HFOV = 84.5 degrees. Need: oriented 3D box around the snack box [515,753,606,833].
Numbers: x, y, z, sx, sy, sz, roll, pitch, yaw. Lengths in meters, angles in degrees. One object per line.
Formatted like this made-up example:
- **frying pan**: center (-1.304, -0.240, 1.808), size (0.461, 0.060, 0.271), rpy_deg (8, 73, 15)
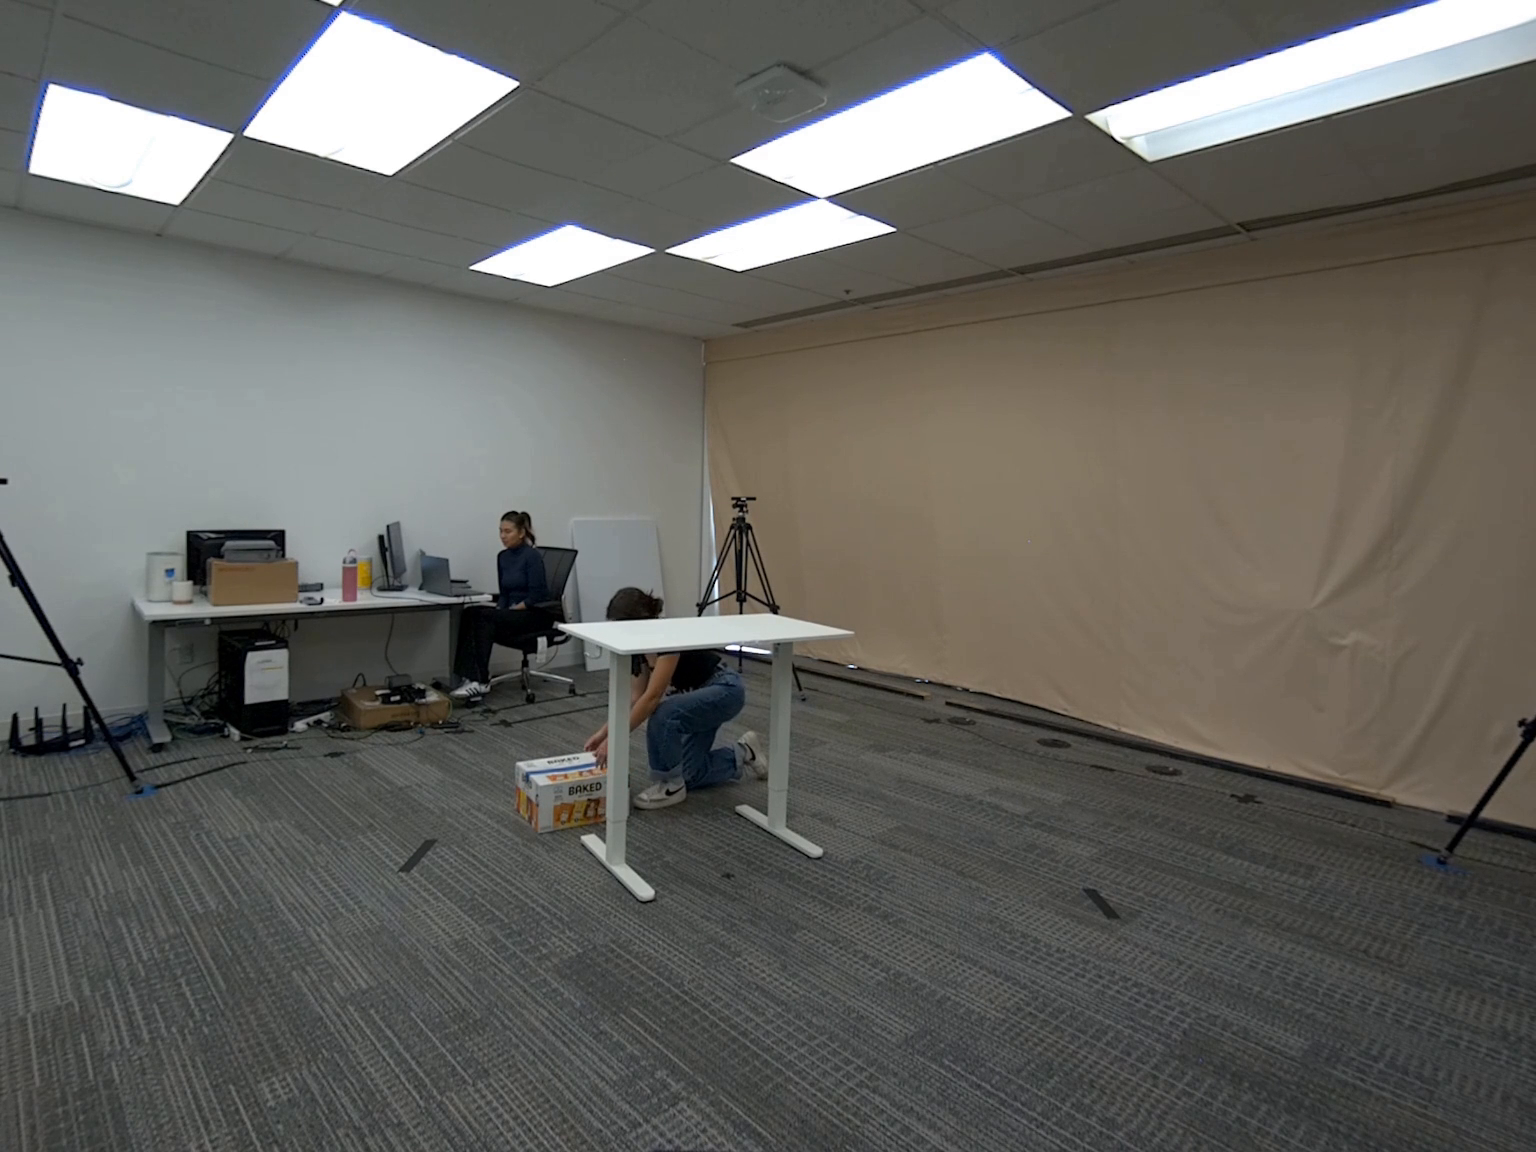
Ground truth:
- **snack box**: center (-0.870, 0.936, 3.688), size (0.397, 0.205, 0.348), rpy_deg (-2, 6, -32)
